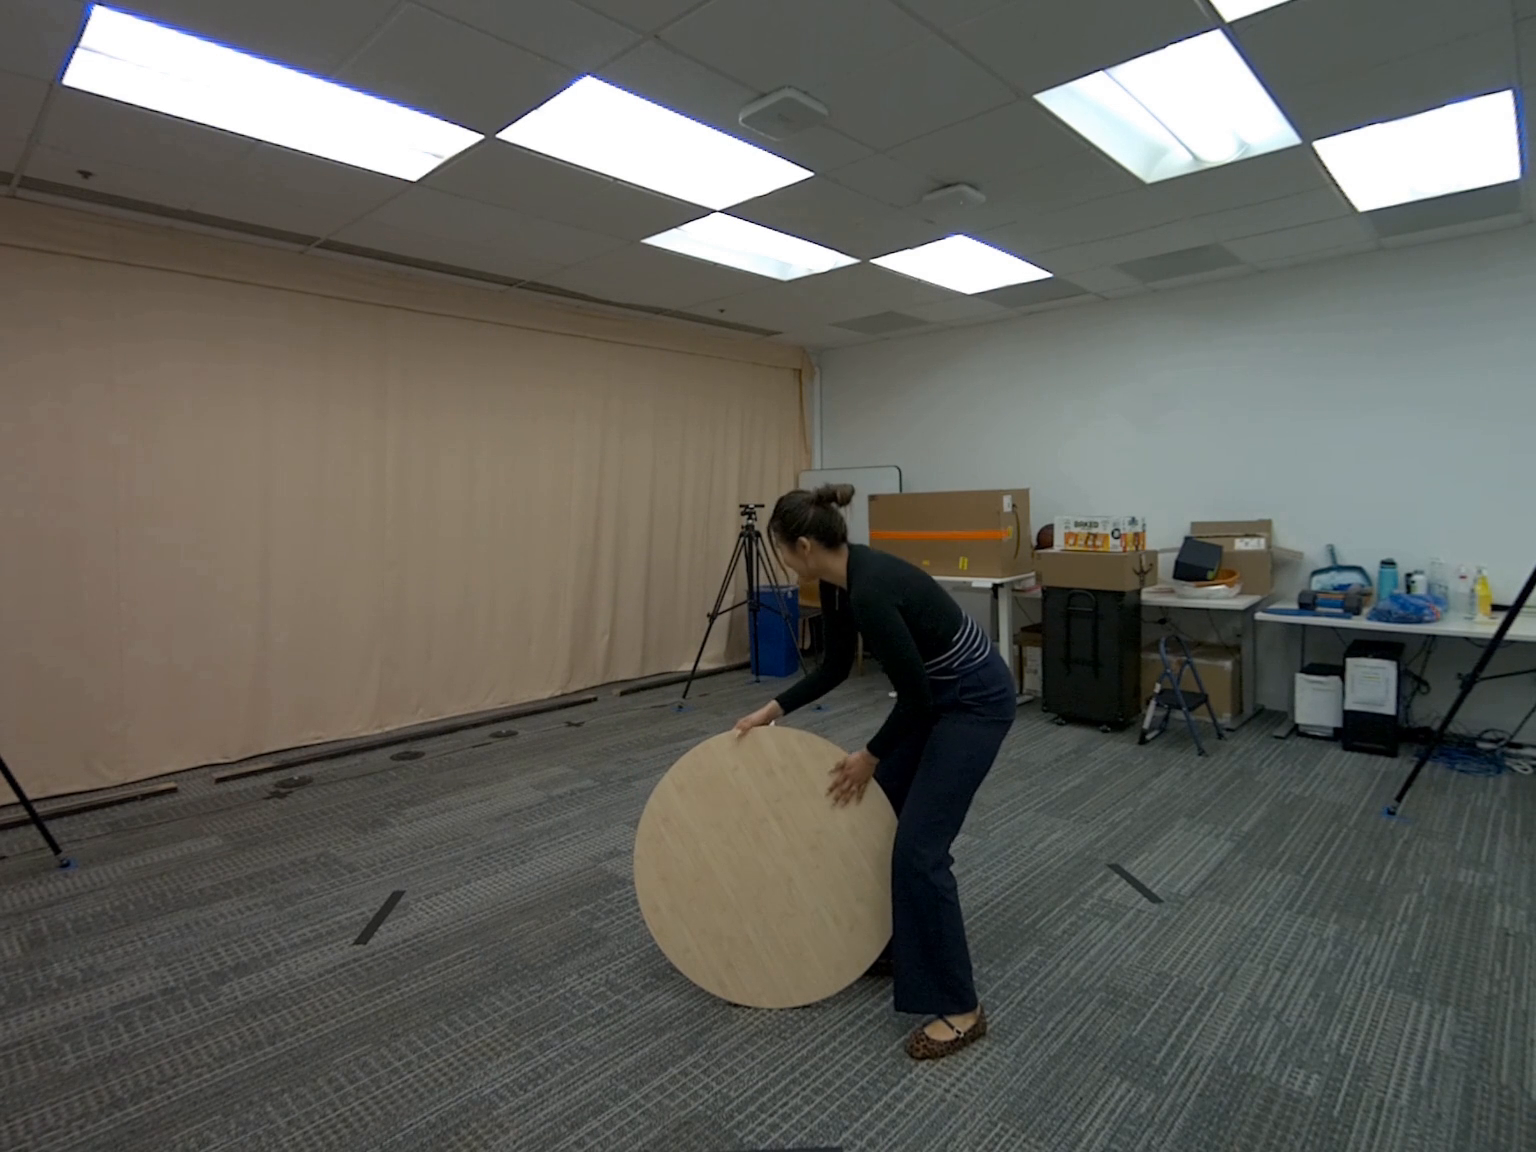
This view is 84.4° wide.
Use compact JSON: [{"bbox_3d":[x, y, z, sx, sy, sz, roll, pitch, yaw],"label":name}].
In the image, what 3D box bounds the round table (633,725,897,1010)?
[{"bbox_3d":[0.009,0.834,2.747,0.767,0.766,0.789,-1,-3,3],"label":"round table"}]
